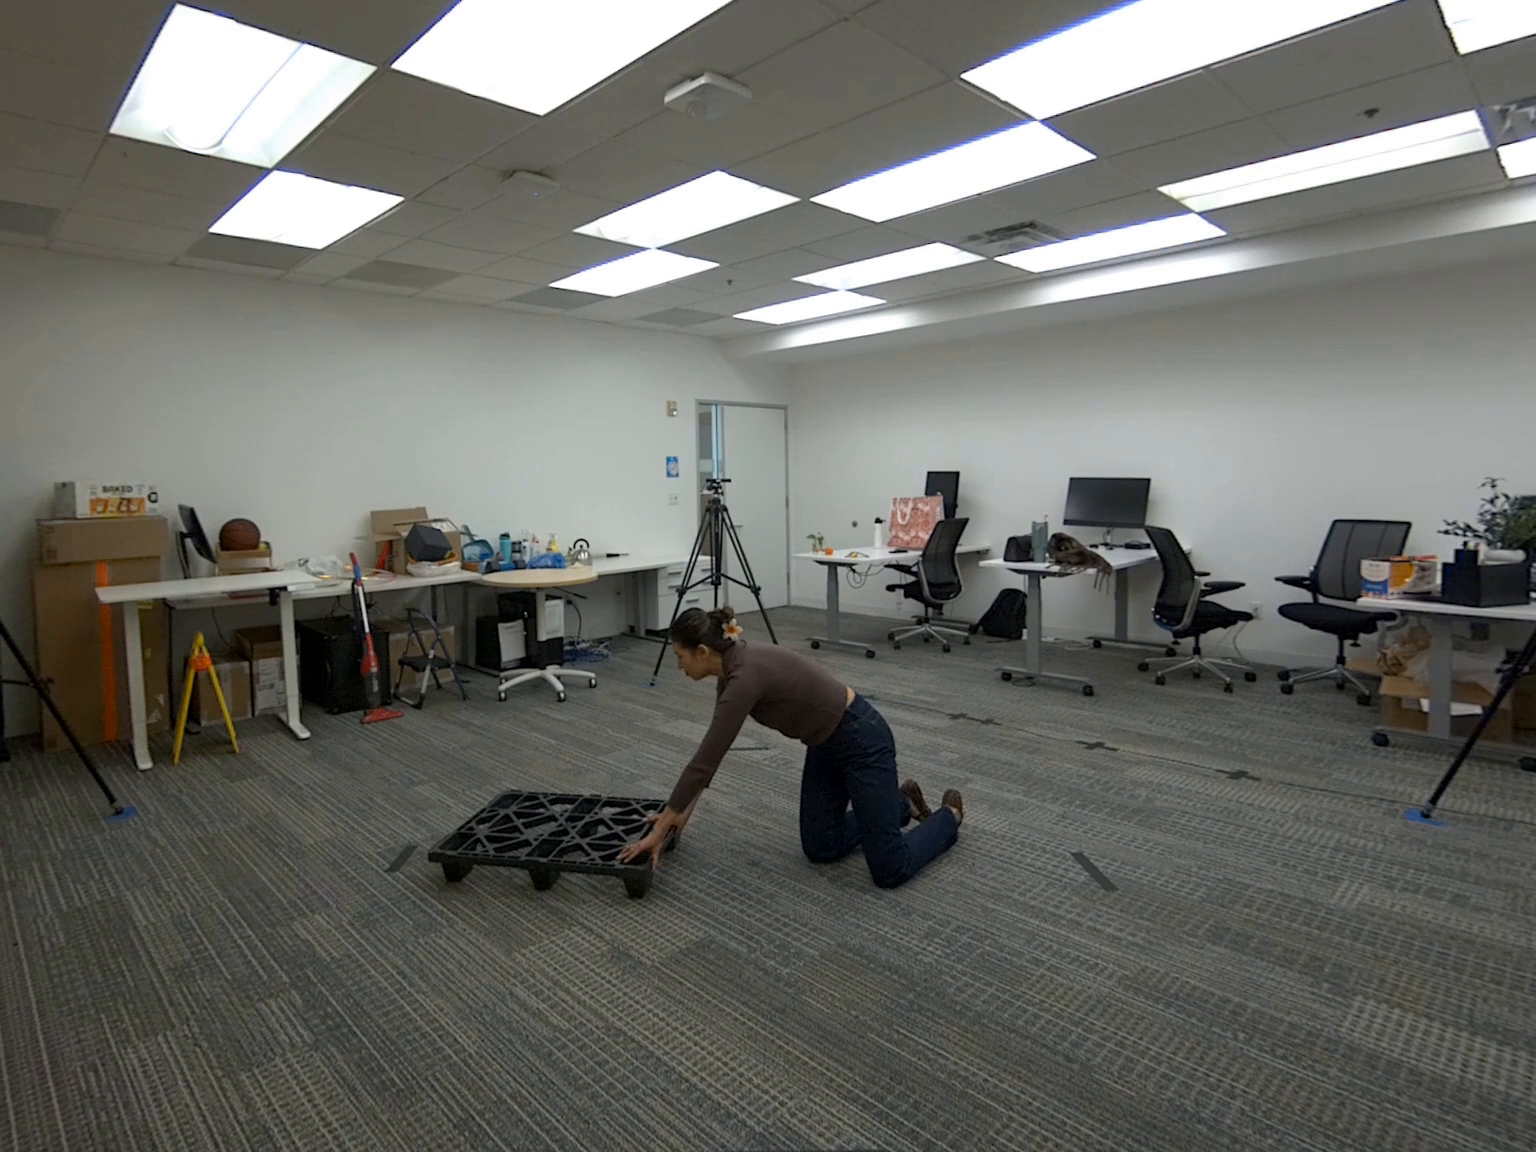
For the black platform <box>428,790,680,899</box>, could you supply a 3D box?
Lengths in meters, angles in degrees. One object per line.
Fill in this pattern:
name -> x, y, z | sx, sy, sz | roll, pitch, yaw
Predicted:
black platform -> -0.731, 0.985, 3.159 | 0.815, 0.142, 0.601 | 0, 7, 11
